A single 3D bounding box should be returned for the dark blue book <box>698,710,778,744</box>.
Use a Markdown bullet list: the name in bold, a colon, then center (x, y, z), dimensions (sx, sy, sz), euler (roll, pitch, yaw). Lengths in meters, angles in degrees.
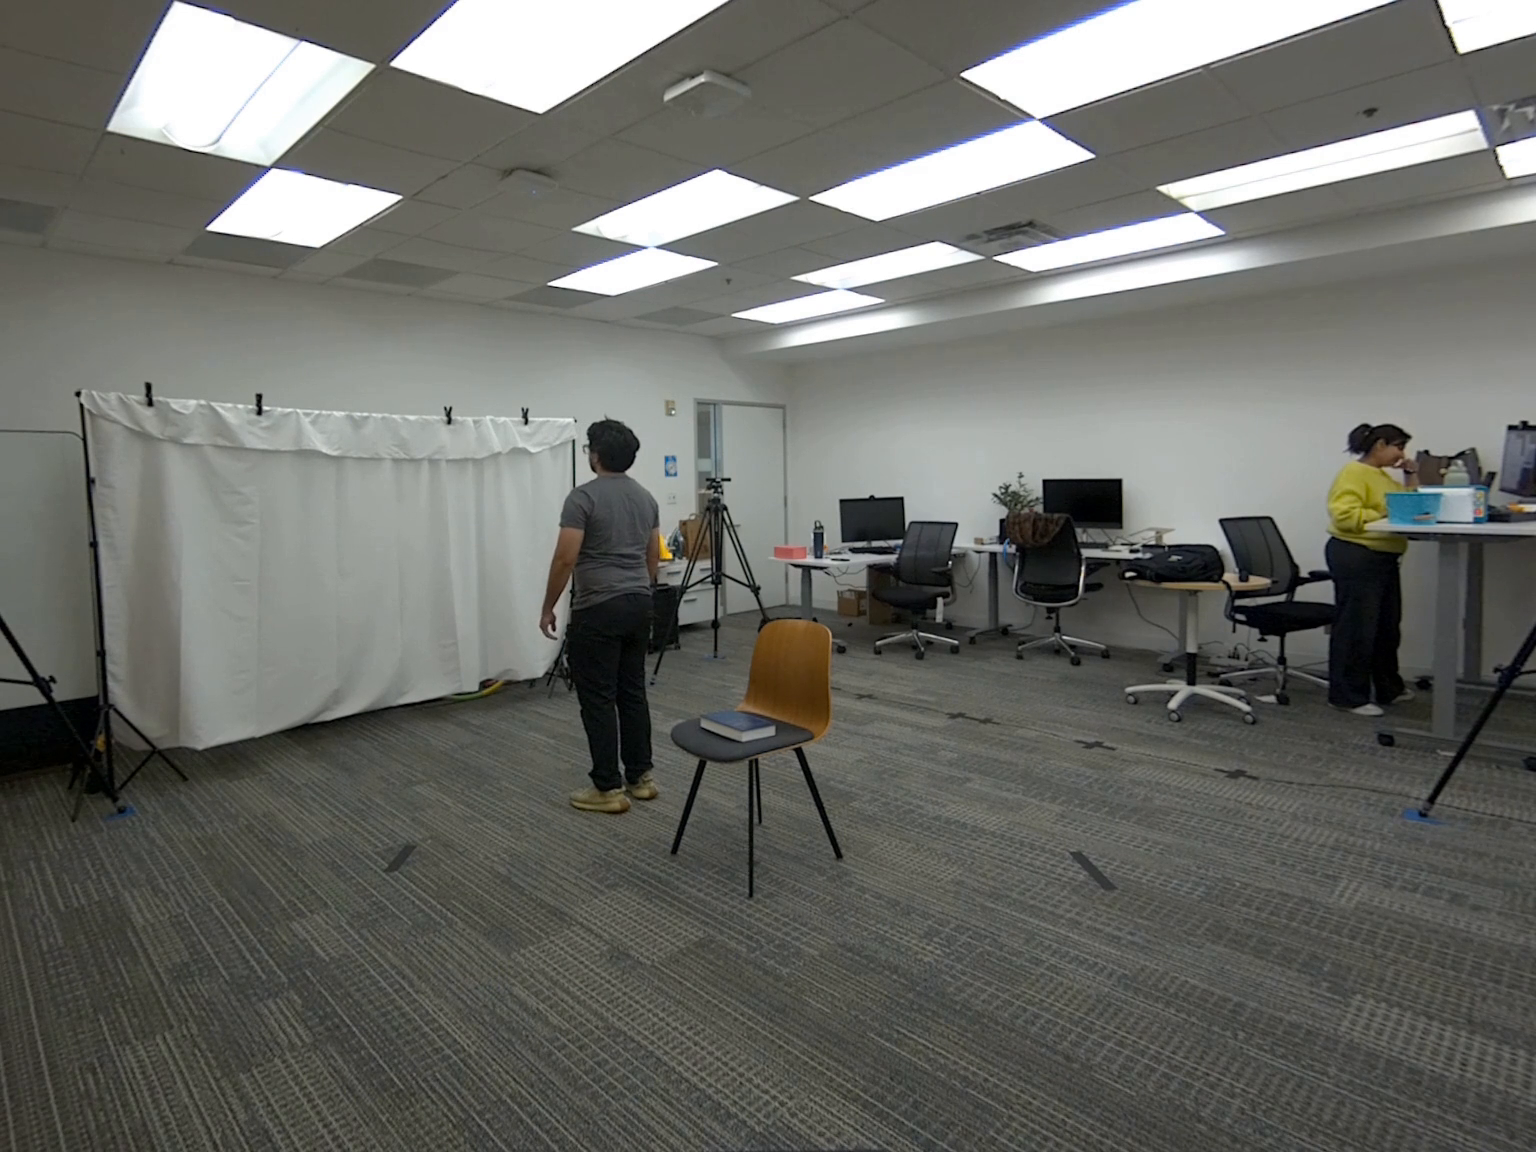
- **dark blue book**: center (-0.111, 0.539, 3.082), dimensions (0.159, 0.045, 0.253), euler (-3, 6, -42)
